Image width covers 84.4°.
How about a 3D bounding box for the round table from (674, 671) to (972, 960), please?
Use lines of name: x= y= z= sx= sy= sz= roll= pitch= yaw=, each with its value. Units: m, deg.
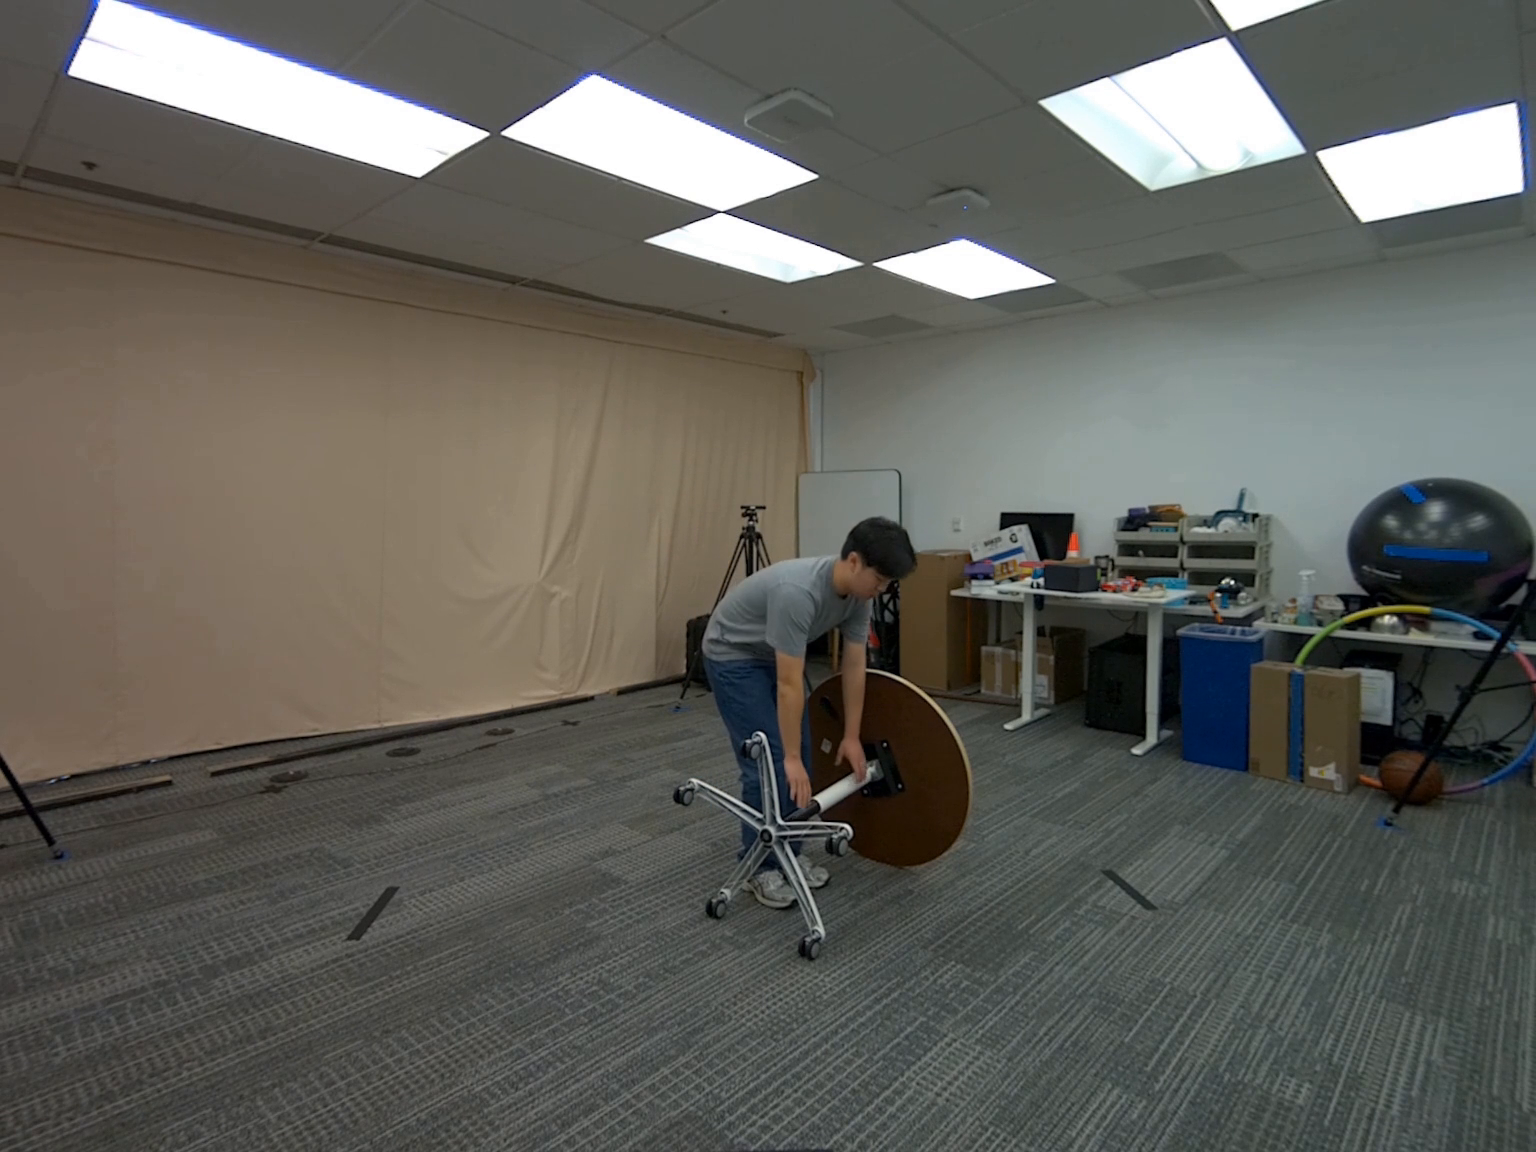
round table: x=0.198 y=0.805 z=2.958 sx=0.789 sy=0.760 sz=0.773 roll=3 pitch=11 yaw=39
